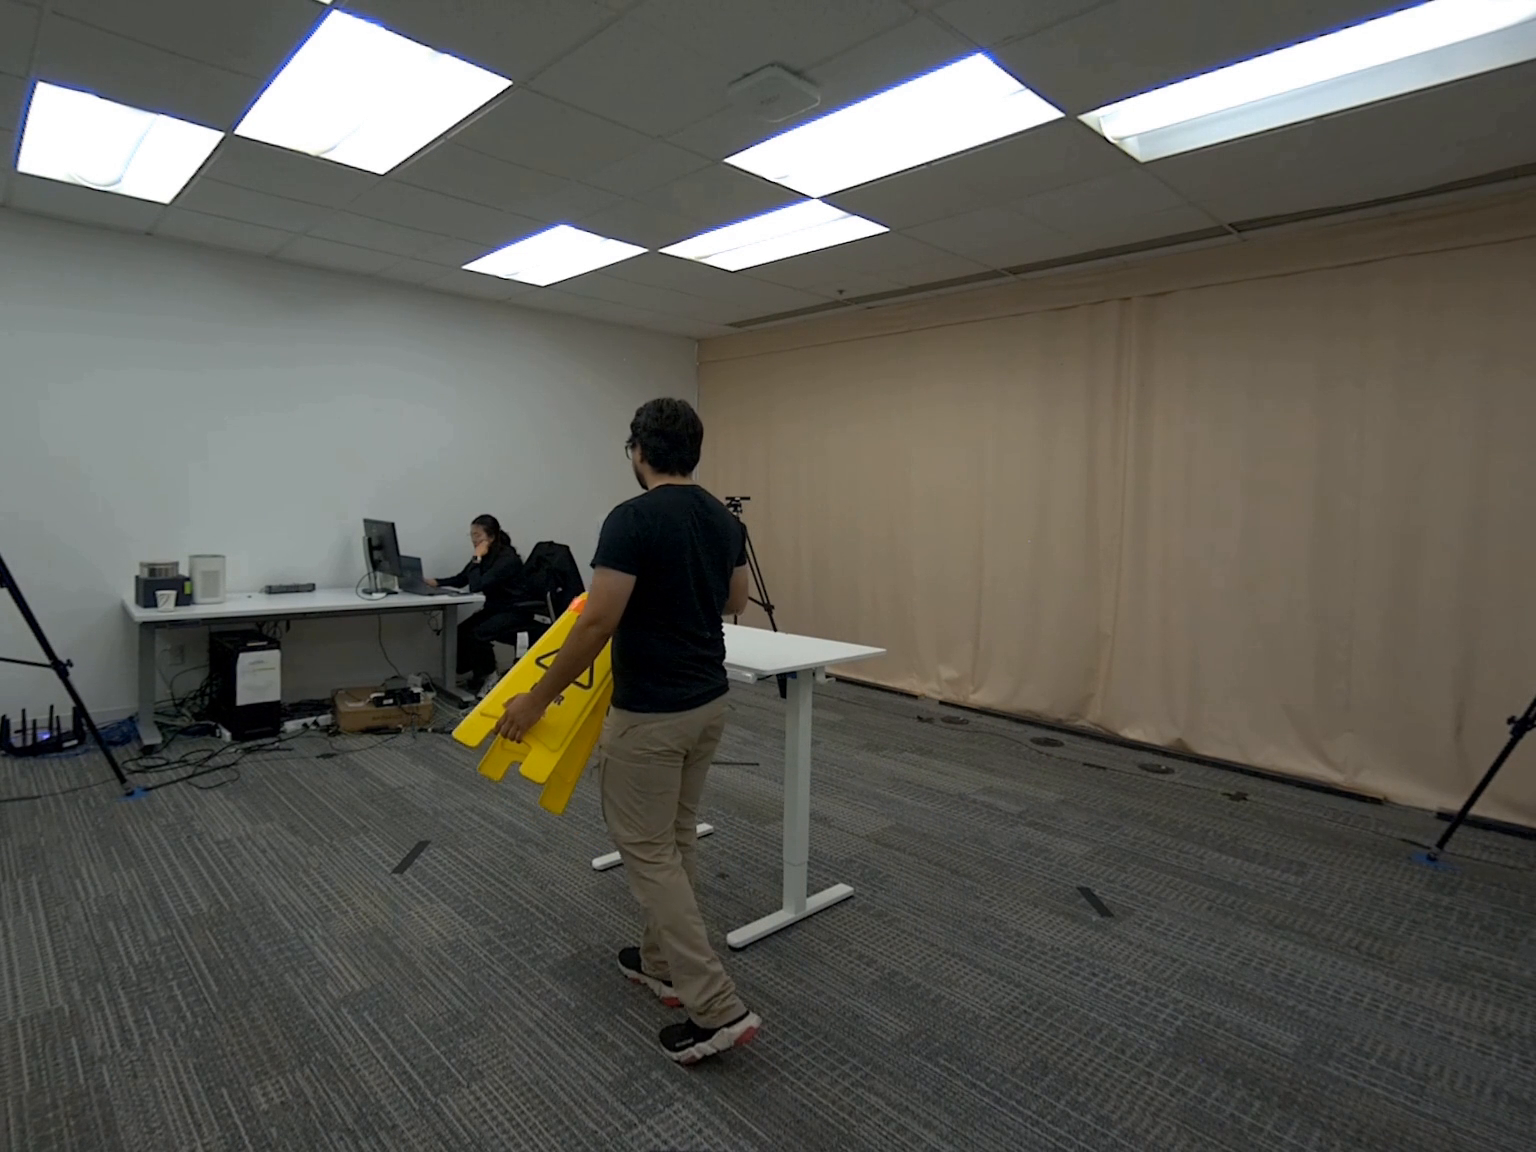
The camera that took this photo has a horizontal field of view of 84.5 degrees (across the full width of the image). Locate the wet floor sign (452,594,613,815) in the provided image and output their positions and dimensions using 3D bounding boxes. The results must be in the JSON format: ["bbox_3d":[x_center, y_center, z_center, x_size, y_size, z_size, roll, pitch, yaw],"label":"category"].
[{"bbox_3d":[-0.546,0.288,2.369,0.286,0.650,0.284,23,-30,11],"label":"wet floor sign"}]
